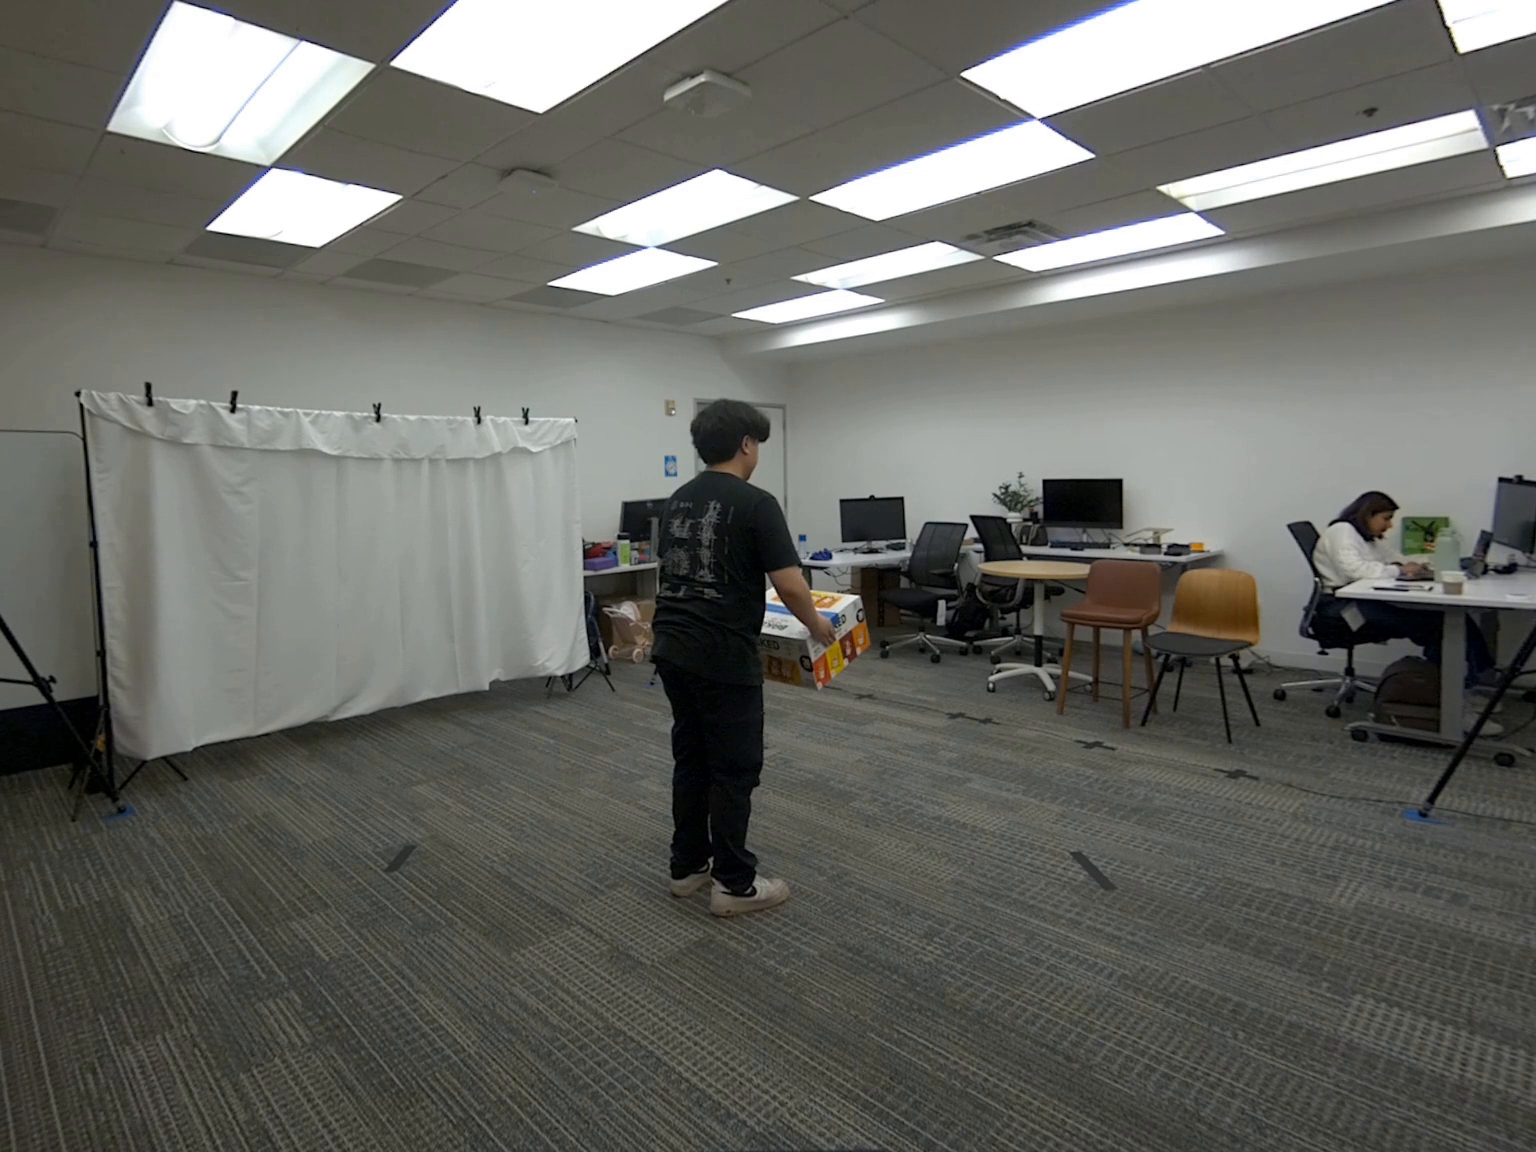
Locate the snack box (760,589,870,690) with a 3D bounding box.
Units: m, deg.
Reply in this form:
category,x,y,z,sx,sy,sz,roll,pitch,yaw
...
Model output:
category,x,y,z,sx,sy,sz,roll,pitch,yaw
snack box,0.098,0.222,3.144,0.418,0.201,0.337,6,27,41
